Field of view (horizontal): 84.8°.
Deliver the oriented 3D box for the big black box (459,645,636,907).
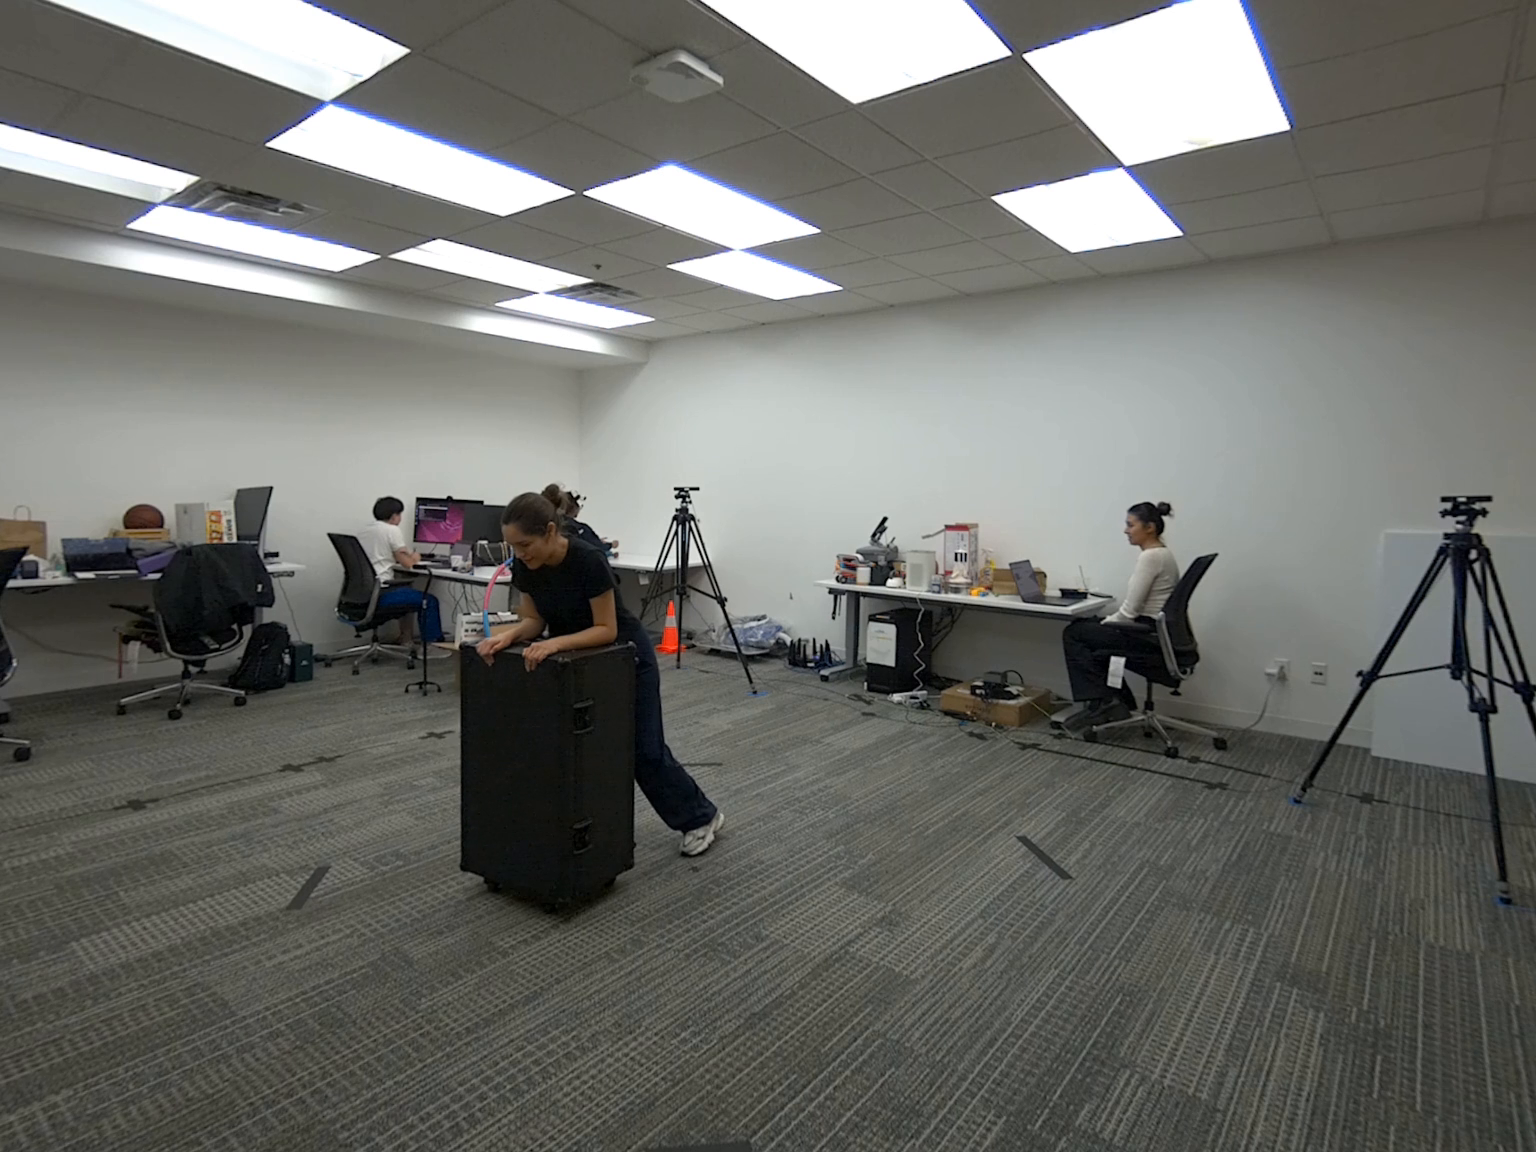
[{"bbox_3d":[-0.735,0.596,2.934,0.537,0.859,0.385,3,4,32],"label":"big black box"}]
